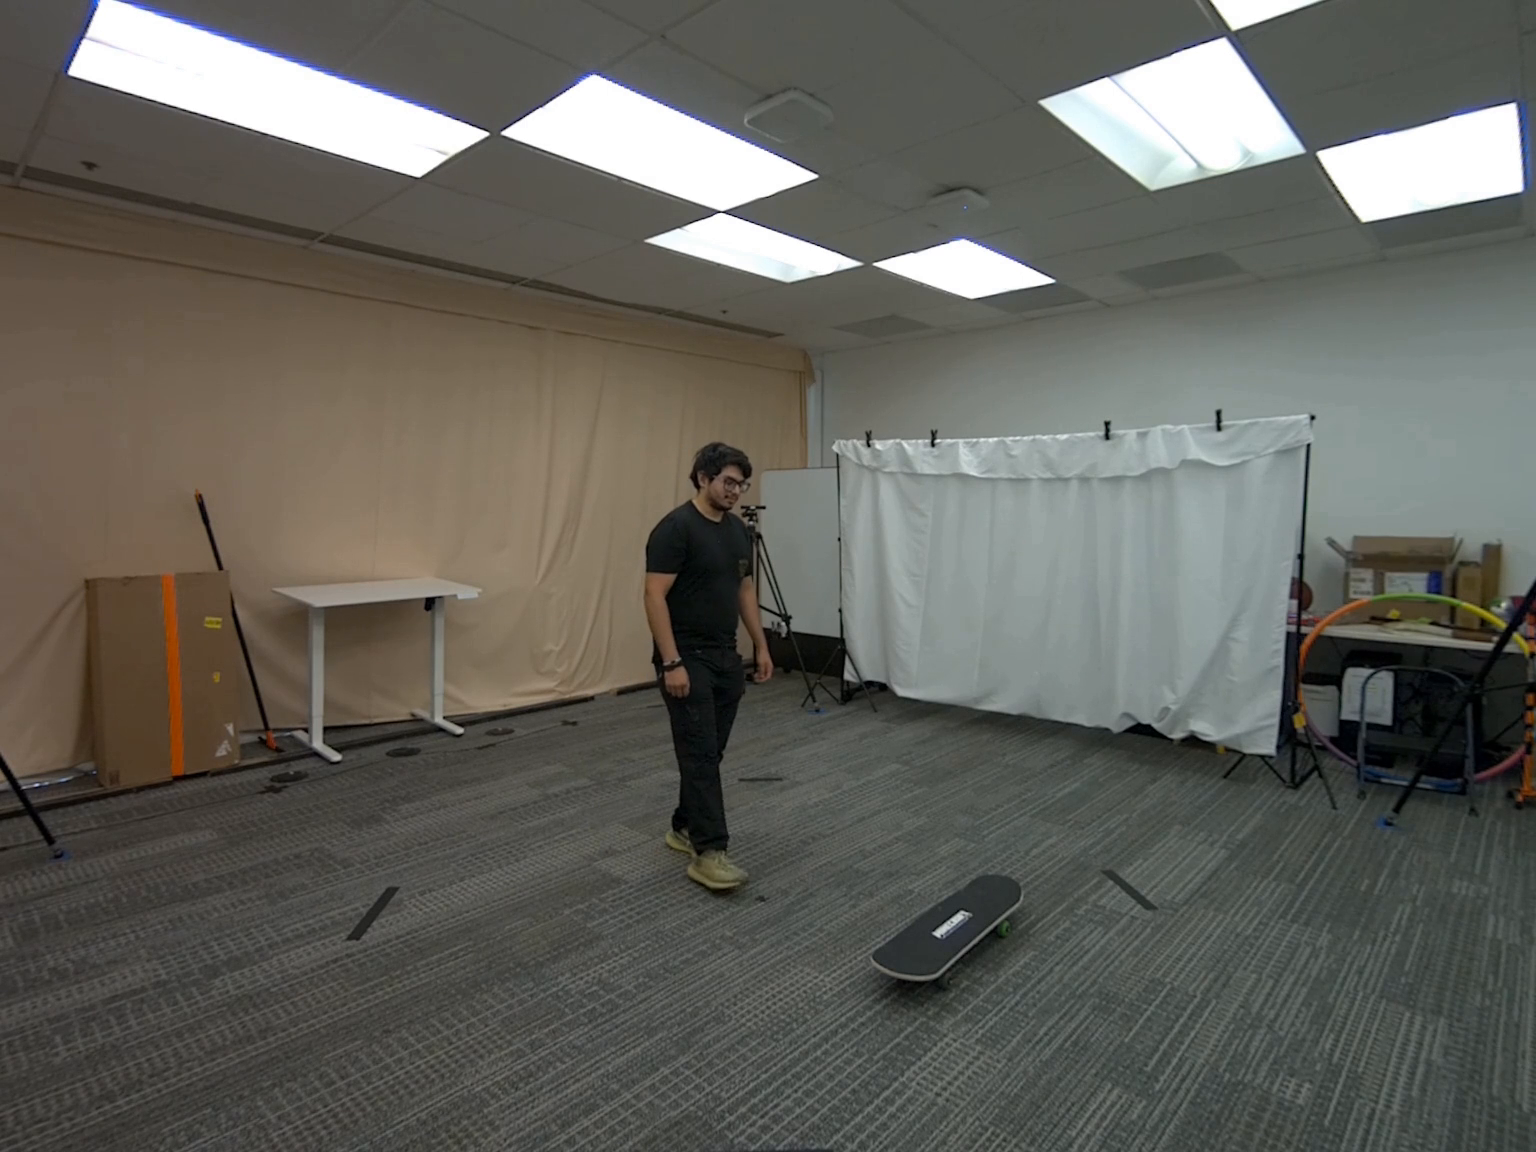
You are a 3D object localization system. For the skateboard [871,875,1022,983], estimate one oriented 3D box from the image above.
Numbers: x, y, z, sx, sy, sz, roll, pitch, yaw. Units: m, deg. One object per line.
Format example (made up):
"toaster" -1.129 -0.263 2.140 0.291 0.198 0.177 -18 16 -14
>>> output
"skateboard" 0.582 1.122 2.614 0.200 0.110 0.762 5 7 40
